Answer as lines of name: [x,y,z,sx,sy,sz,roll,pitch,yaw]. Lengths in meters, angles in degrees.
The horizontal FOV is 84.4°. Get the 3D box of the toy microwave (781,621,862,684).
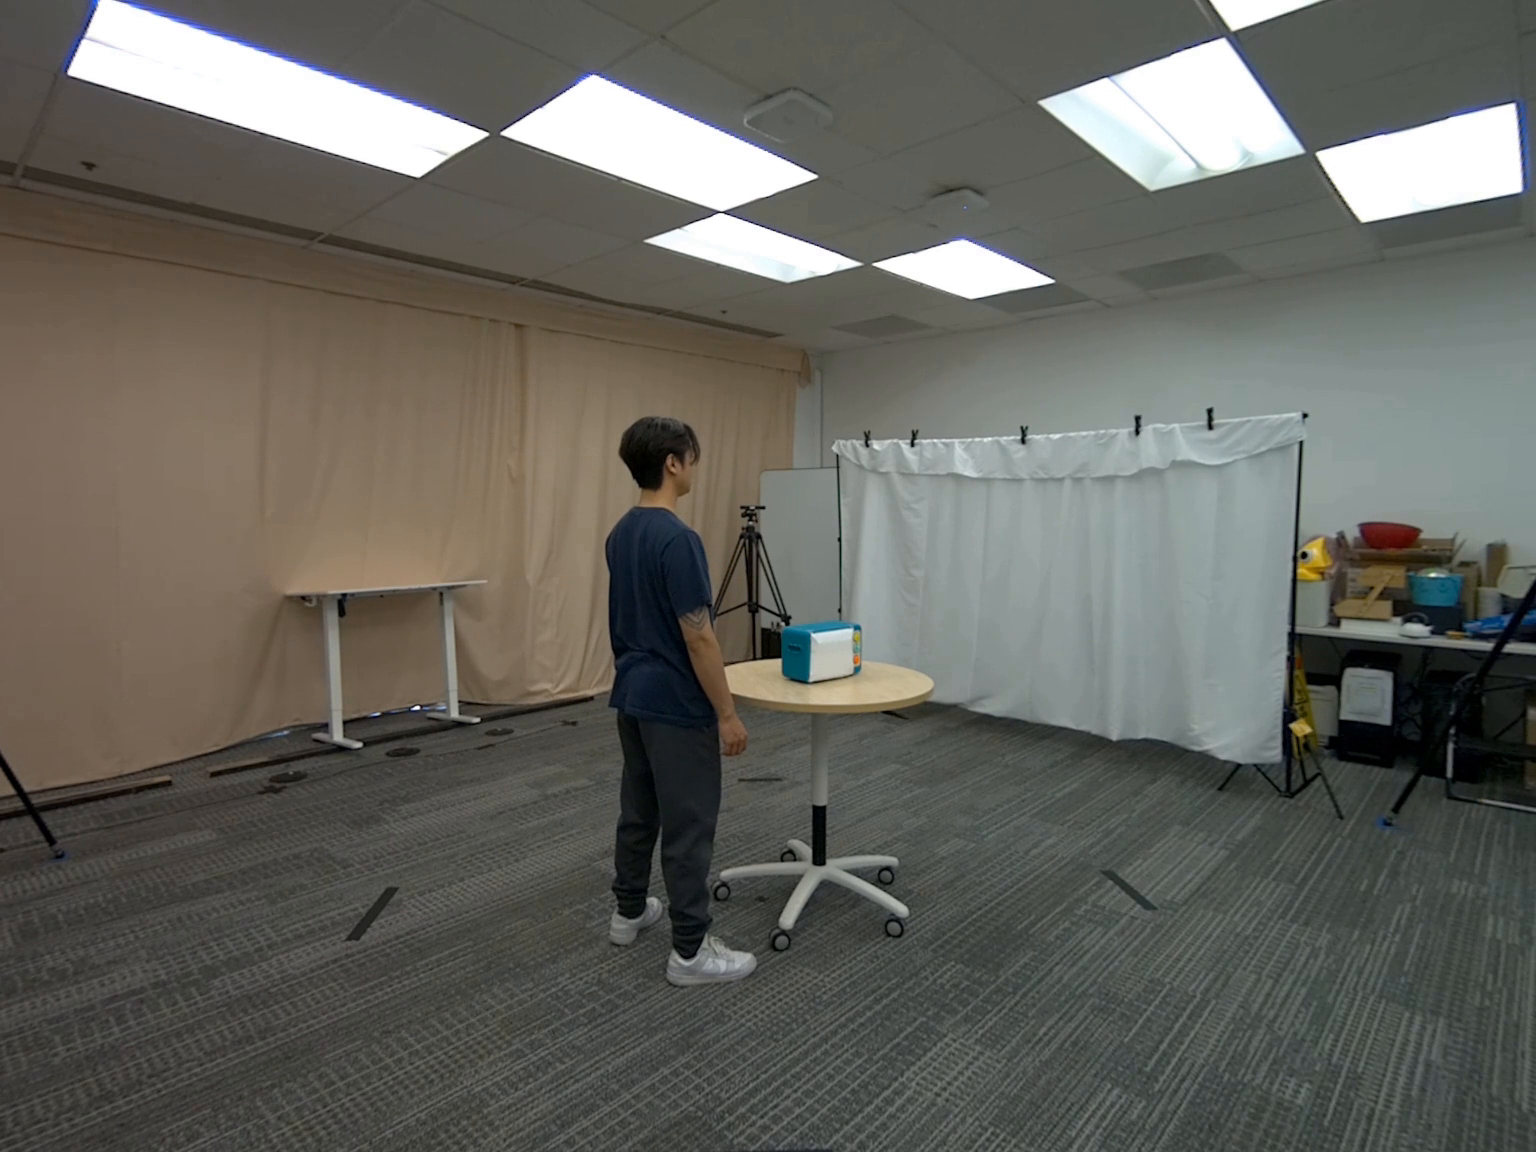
toy microwave: [0.197,0.262,2.920,0.277,0.184,0.157,-3,5,-39]
